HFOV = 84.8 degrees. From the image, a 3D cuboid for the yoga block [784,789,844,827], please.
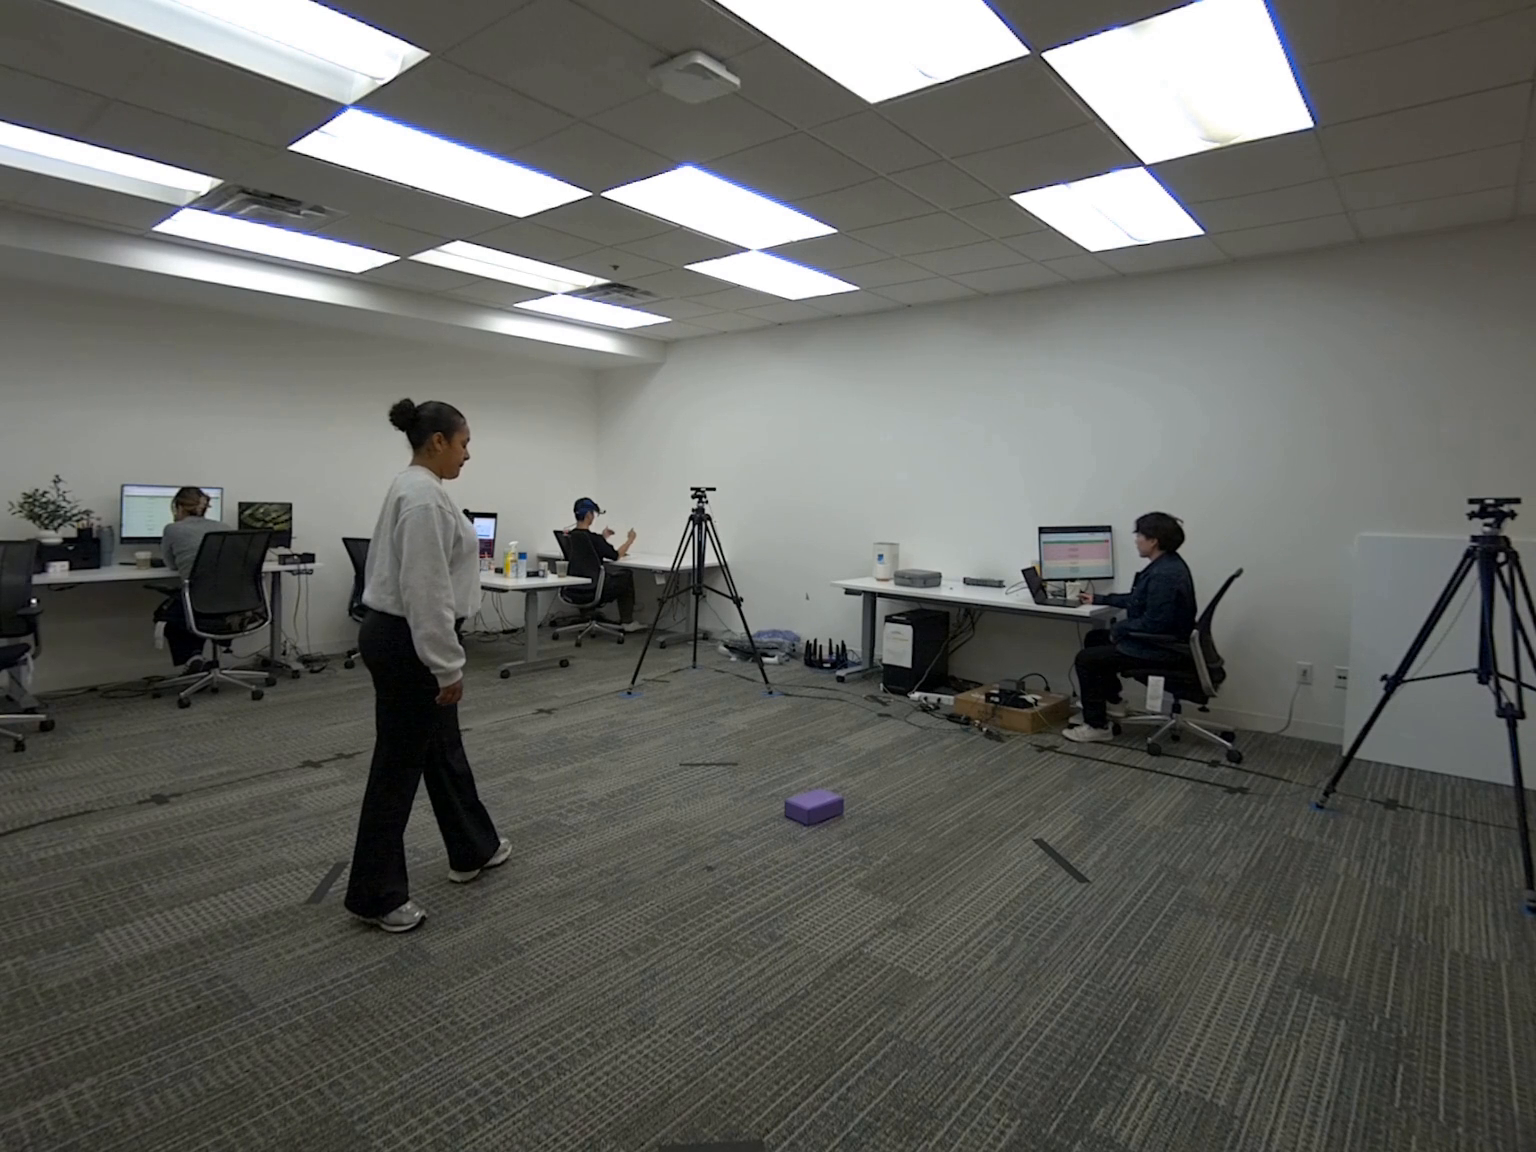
[{"bbox_3d":[0.189,0.982,3.643,0.222,0.076,0.154,-4,7,-42],"label":"yoga block"}]
